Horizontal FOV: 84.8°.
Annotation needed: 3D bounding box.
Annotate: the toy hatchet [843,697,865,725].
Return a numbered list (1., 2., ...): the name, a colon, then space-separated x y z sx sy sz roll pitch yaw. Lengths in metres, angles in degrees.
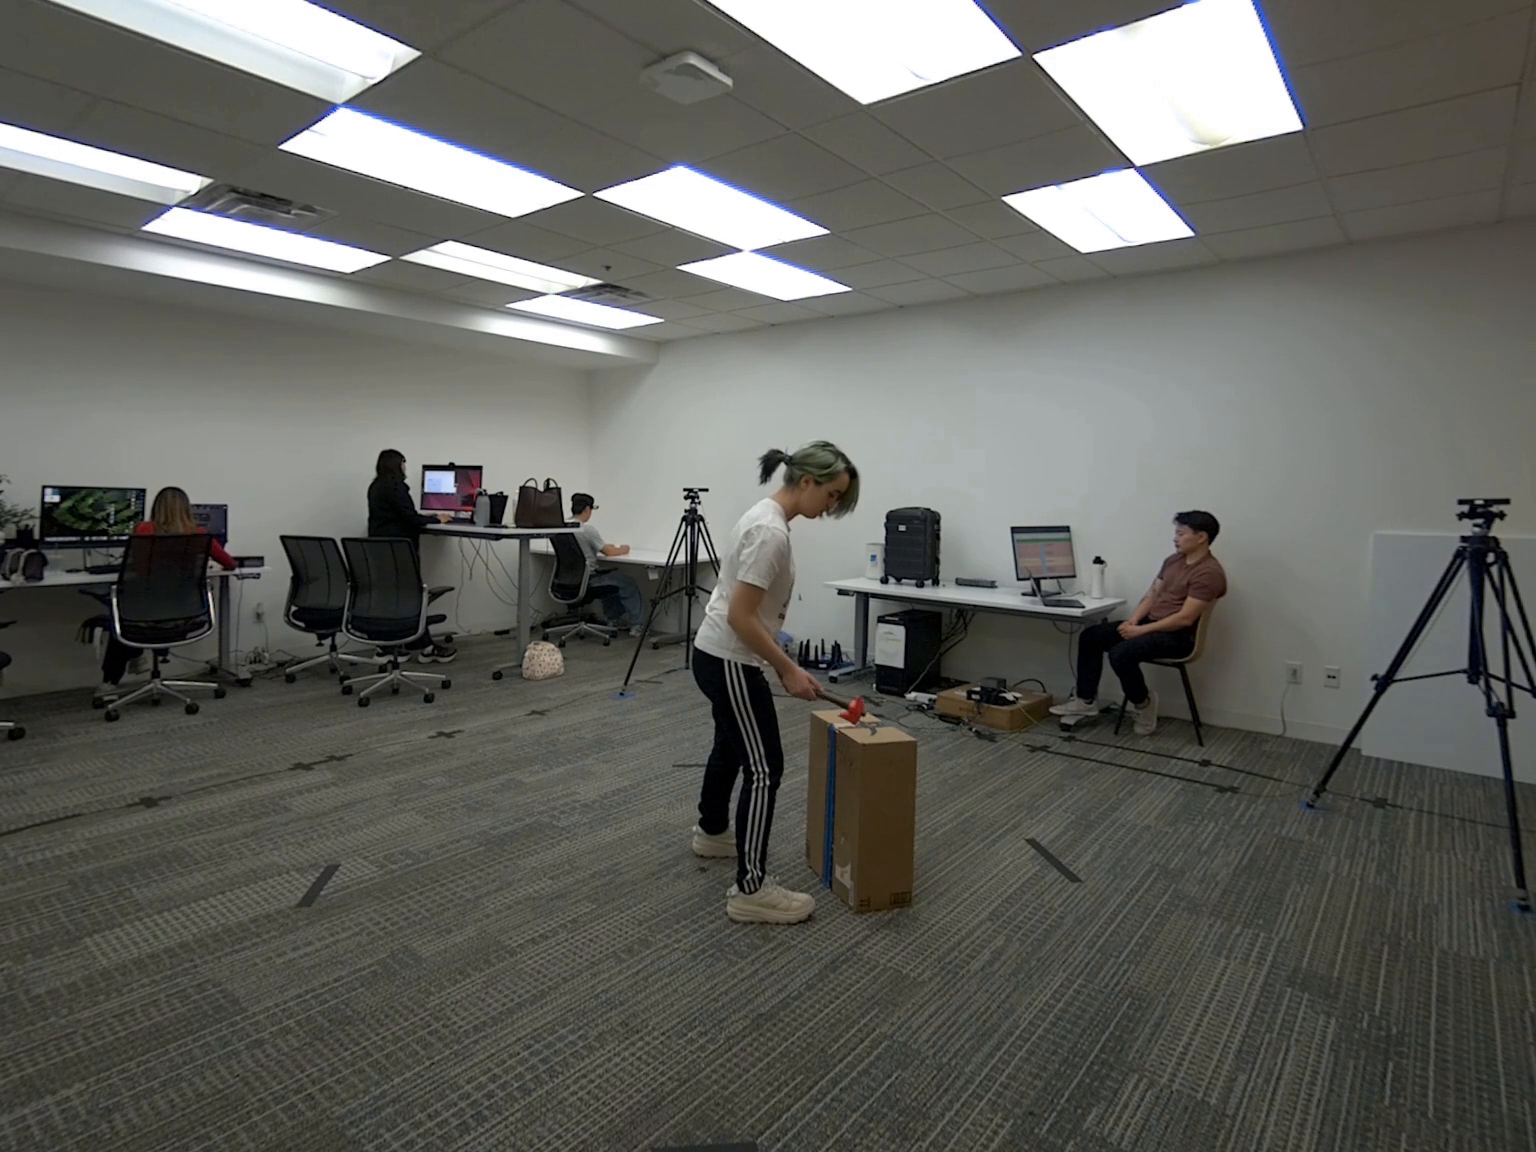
1. toy hatchet: 0.175 0.404 2.700 0.278 0.126 0.030 3 40 35
